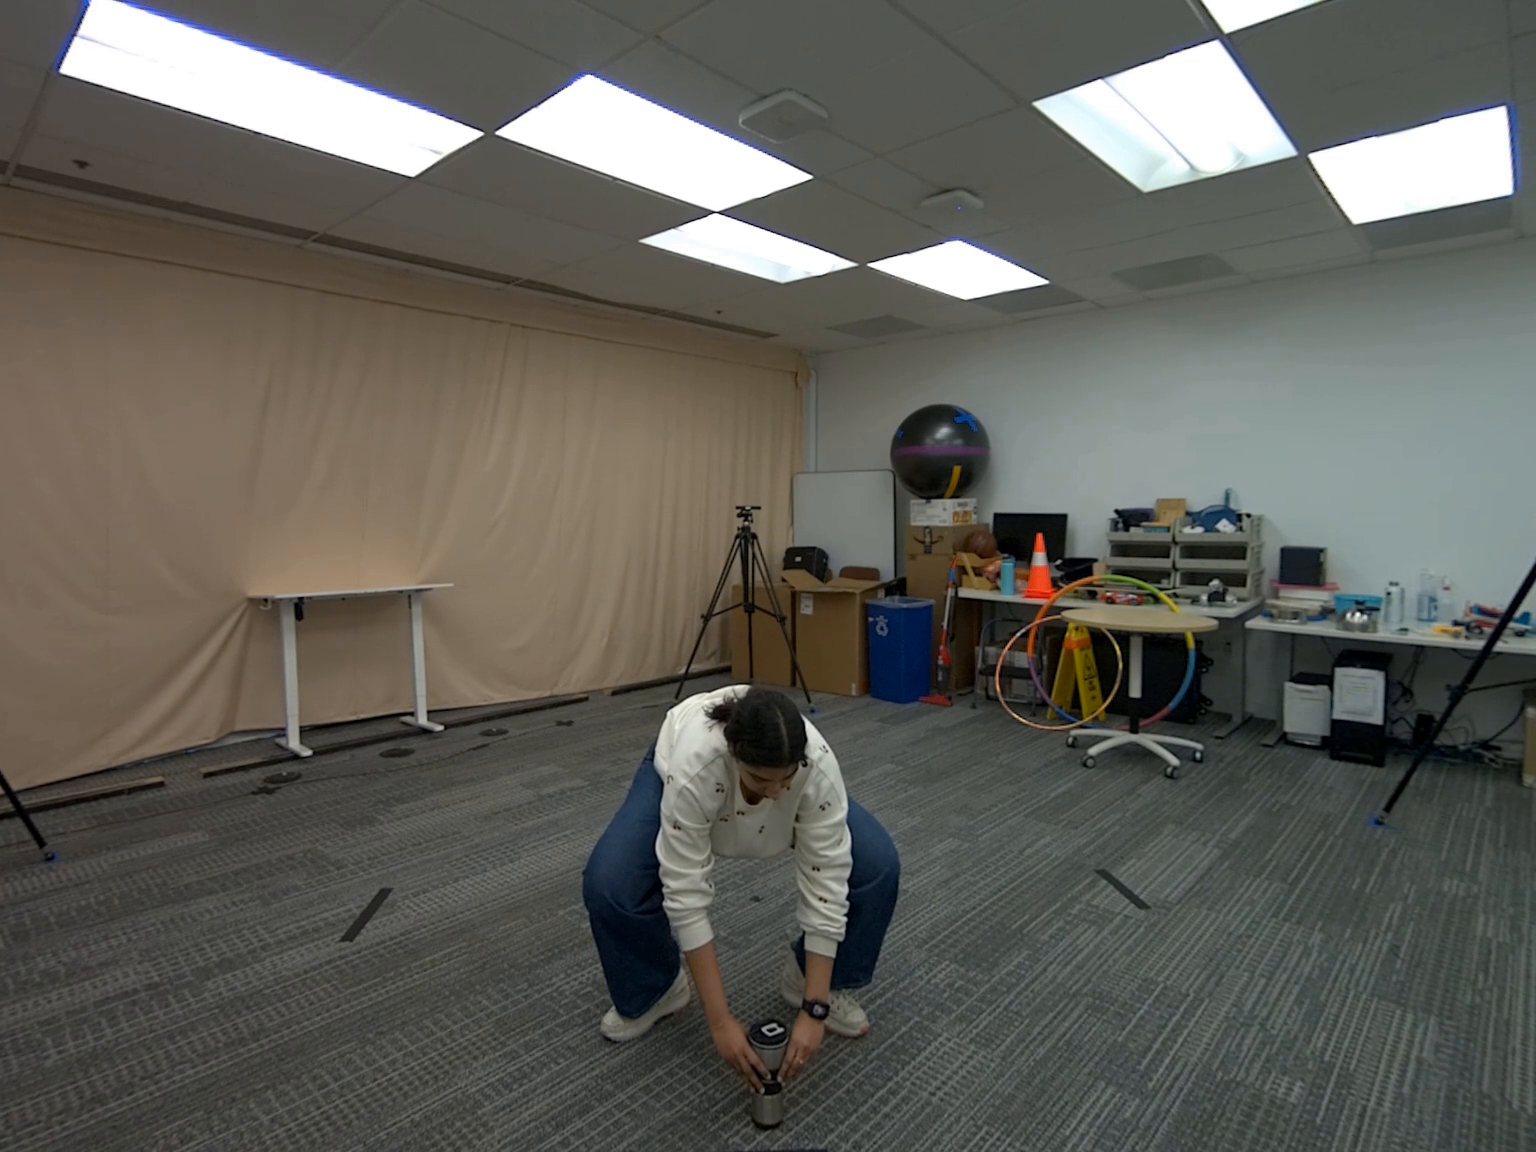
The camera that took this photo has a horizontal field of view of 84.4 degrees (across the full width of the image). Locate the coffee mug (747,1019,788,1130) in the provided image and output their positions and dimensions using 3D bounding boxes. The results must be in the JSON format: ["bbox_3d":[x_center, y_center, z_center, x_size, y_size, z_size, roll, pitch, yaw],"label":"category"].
[{"bbox_3d":[-0.006,1.139,1.892,0.091,0.203,0.118,1,-3,41],"label":"coffee mug"}]
